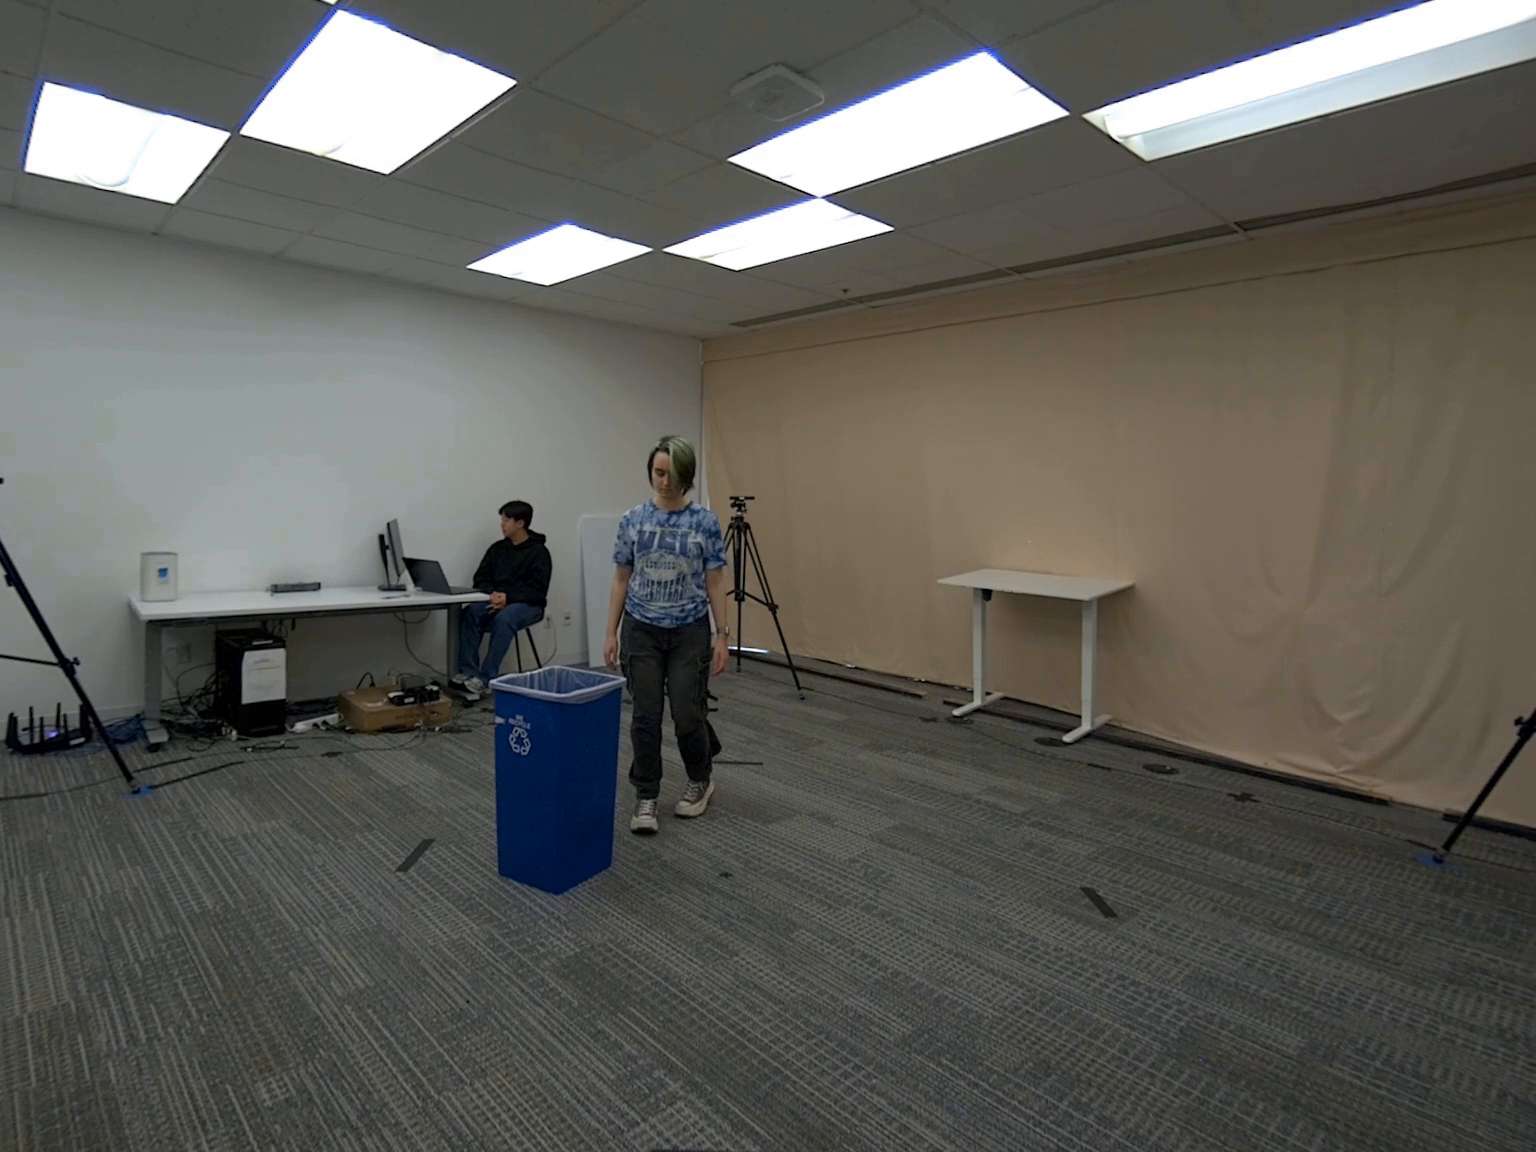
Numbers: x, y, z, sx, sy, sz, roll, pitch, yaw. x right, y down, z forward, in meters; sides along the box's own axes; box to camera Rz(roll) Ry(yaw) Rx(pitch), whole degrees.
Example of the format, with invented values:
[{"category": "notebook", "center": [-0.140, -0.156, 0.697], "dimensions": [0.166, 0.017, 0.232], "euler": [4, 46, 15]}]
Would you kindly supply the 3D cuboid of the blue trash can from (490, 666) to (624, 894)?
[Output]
[{"category": "blue trash can", "center": [-0.775, 0.734, 3.093], "dimensions": [0.382, 0.712, 0.371], "euler": [4, 4, 30]}]
